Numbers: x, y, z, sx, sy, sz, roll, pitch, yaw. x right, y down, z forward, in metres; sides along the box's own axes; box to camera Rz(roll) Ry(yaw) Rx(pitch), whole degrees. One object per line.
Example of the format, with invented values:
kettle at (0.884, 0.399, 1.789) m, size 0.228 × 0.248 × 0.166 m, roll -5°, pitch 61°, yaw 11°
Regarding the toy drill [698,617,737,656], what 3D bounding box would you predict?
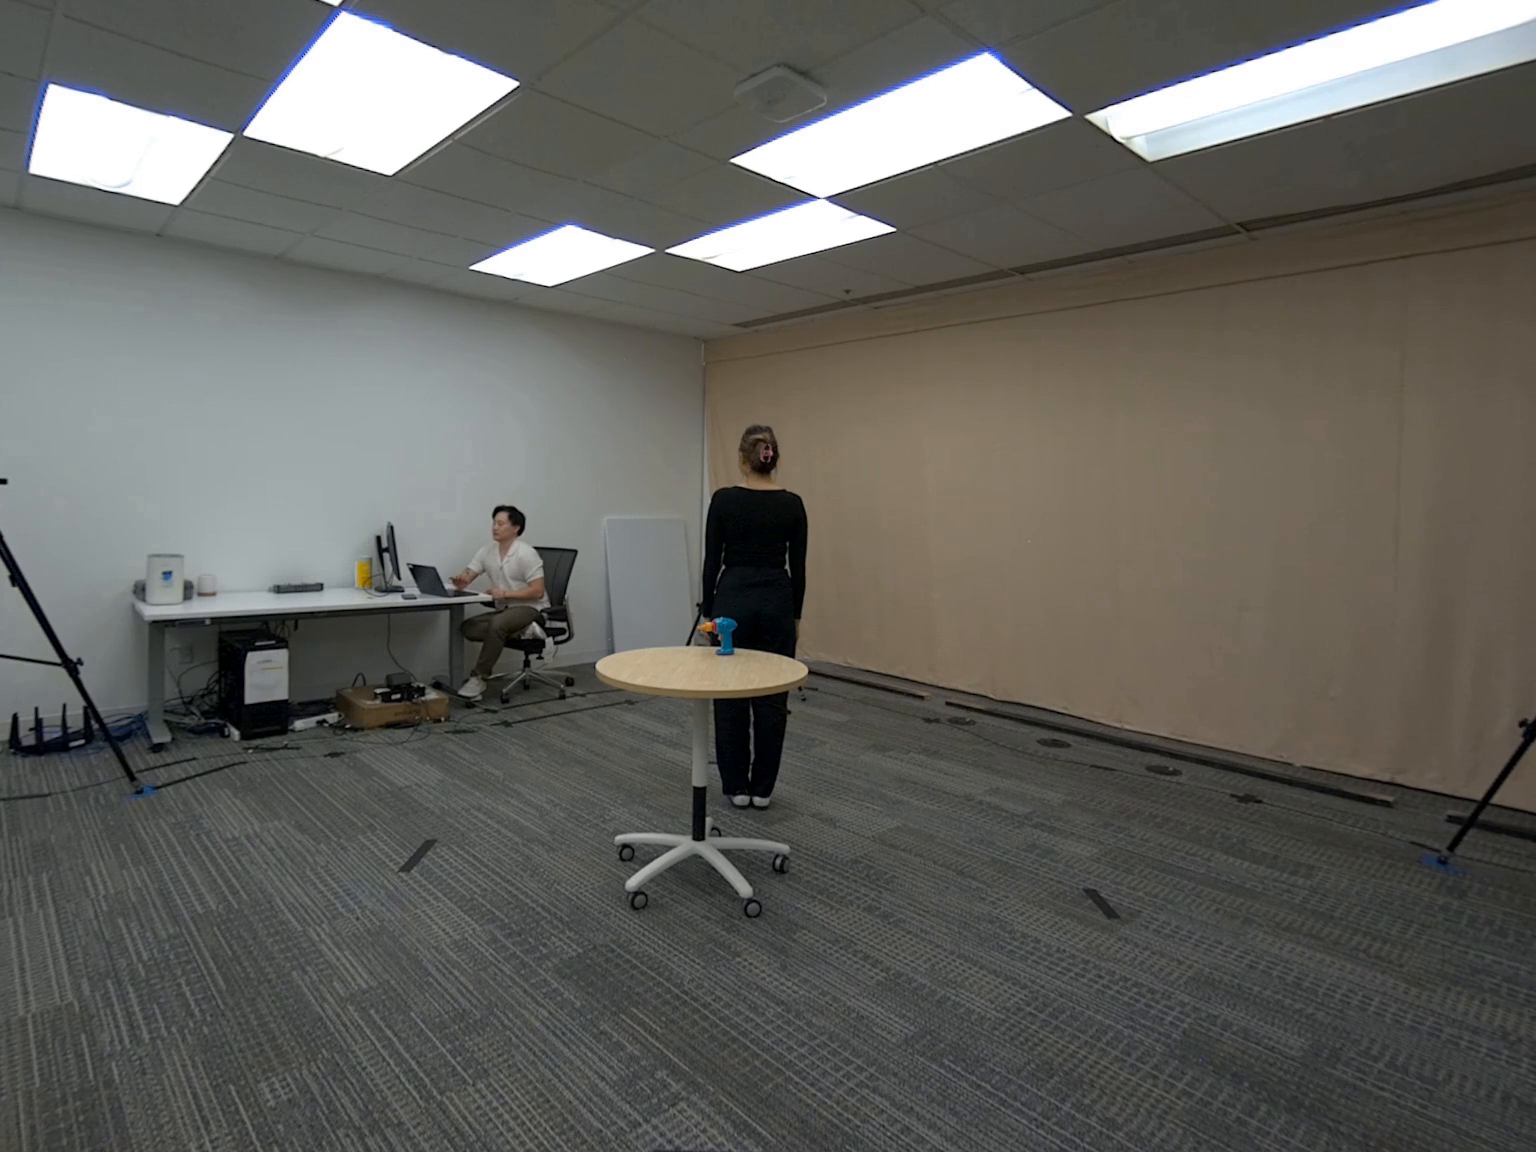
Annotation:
toy drill at (-0.202, 0.234, 3.250) m, size 0.166 × 0.145 × 0.062 m, roll -1°, pitch 5°, yaw -30°
